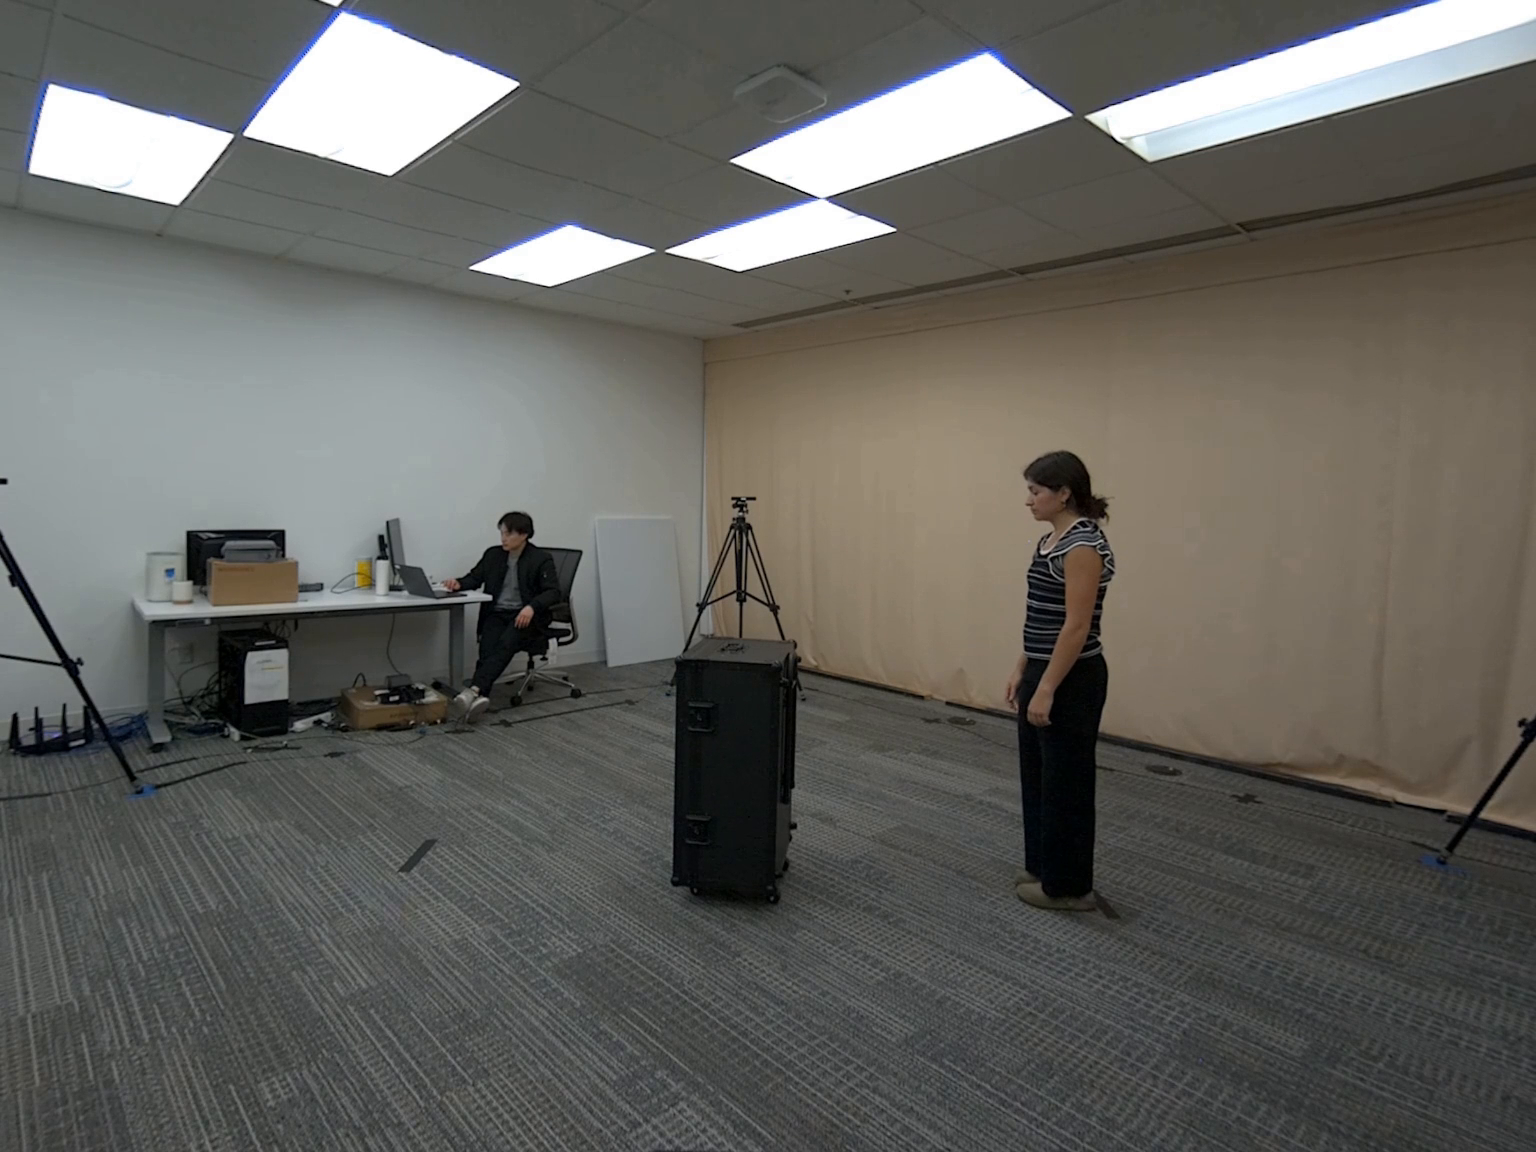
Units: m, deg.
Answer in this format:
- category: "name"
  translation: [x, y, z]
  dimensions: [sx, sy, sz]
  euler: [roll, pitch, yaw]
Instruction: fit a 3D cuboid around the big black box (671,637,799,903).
- category: "big black box"
  translation: [-0.102, 0.682, 3.050]
  dimensions: [0.400, 0.860, 0.518]
  euler: [2, 3, 10]
